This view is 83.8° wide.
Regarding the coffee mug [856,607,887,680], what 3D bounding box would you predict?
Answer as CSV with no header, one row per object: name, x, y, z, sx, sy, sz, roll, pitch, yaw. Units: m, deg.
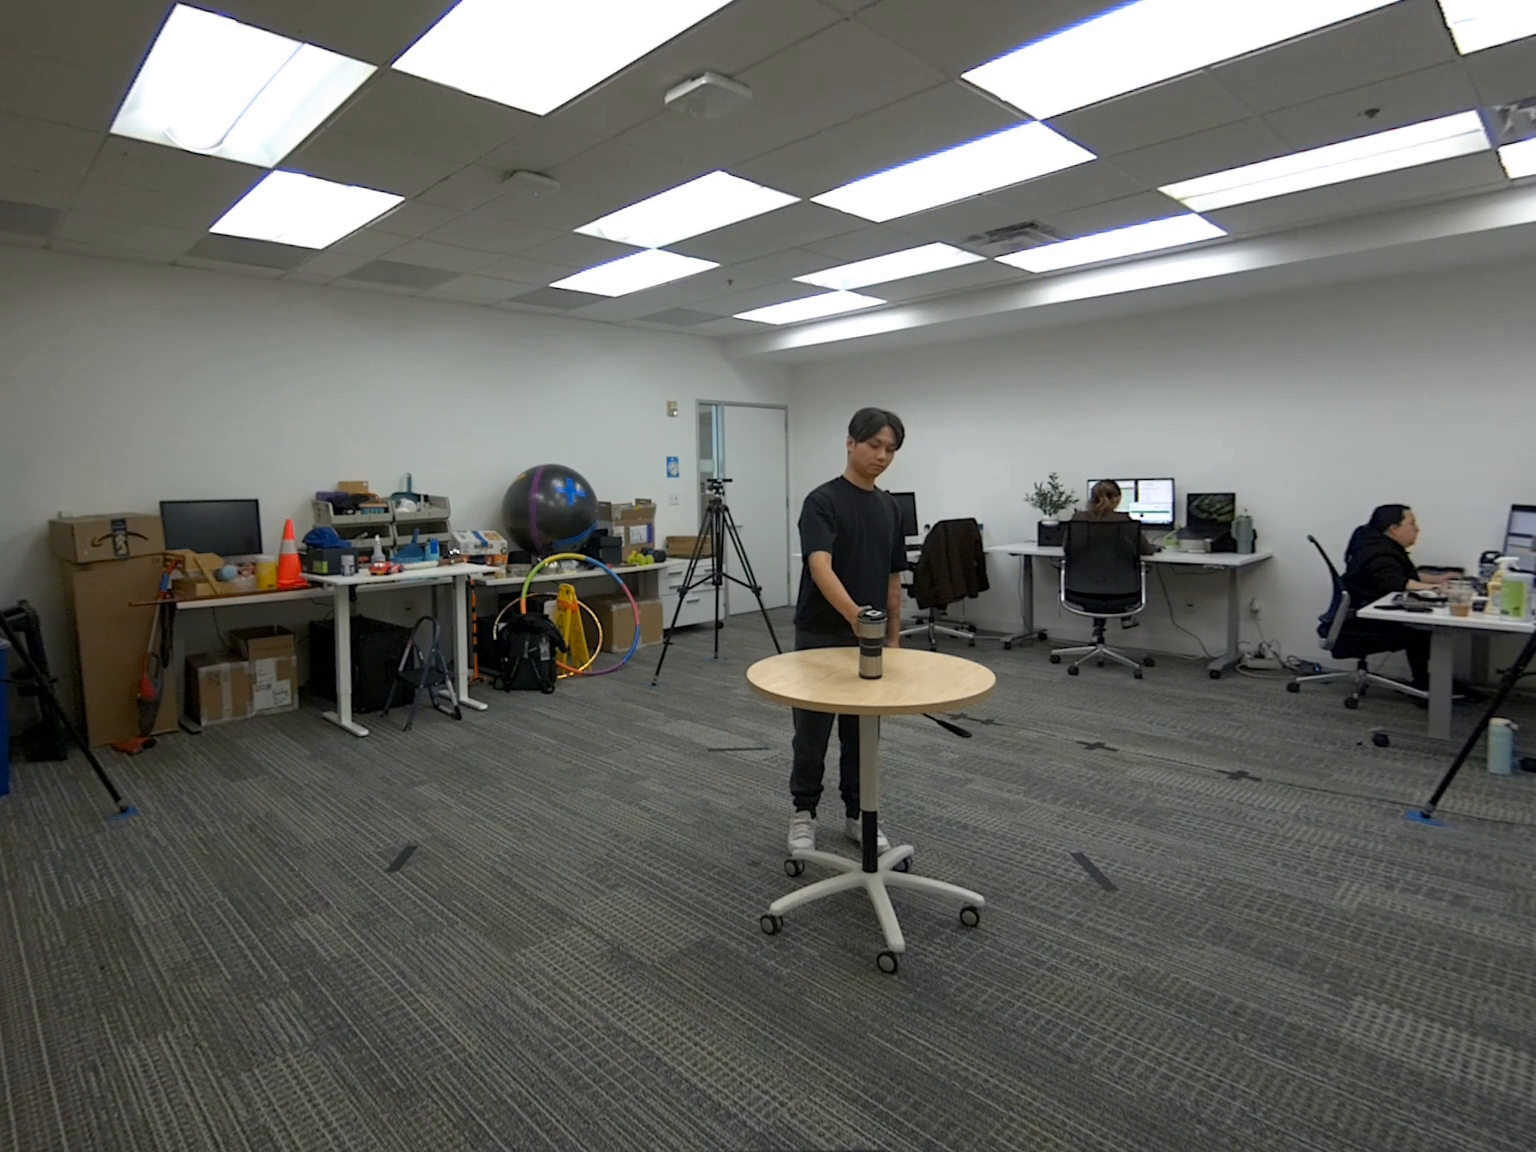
coffee mug,0.333,0.211,2.622,0.090,0.201,0.119,4,14,39
